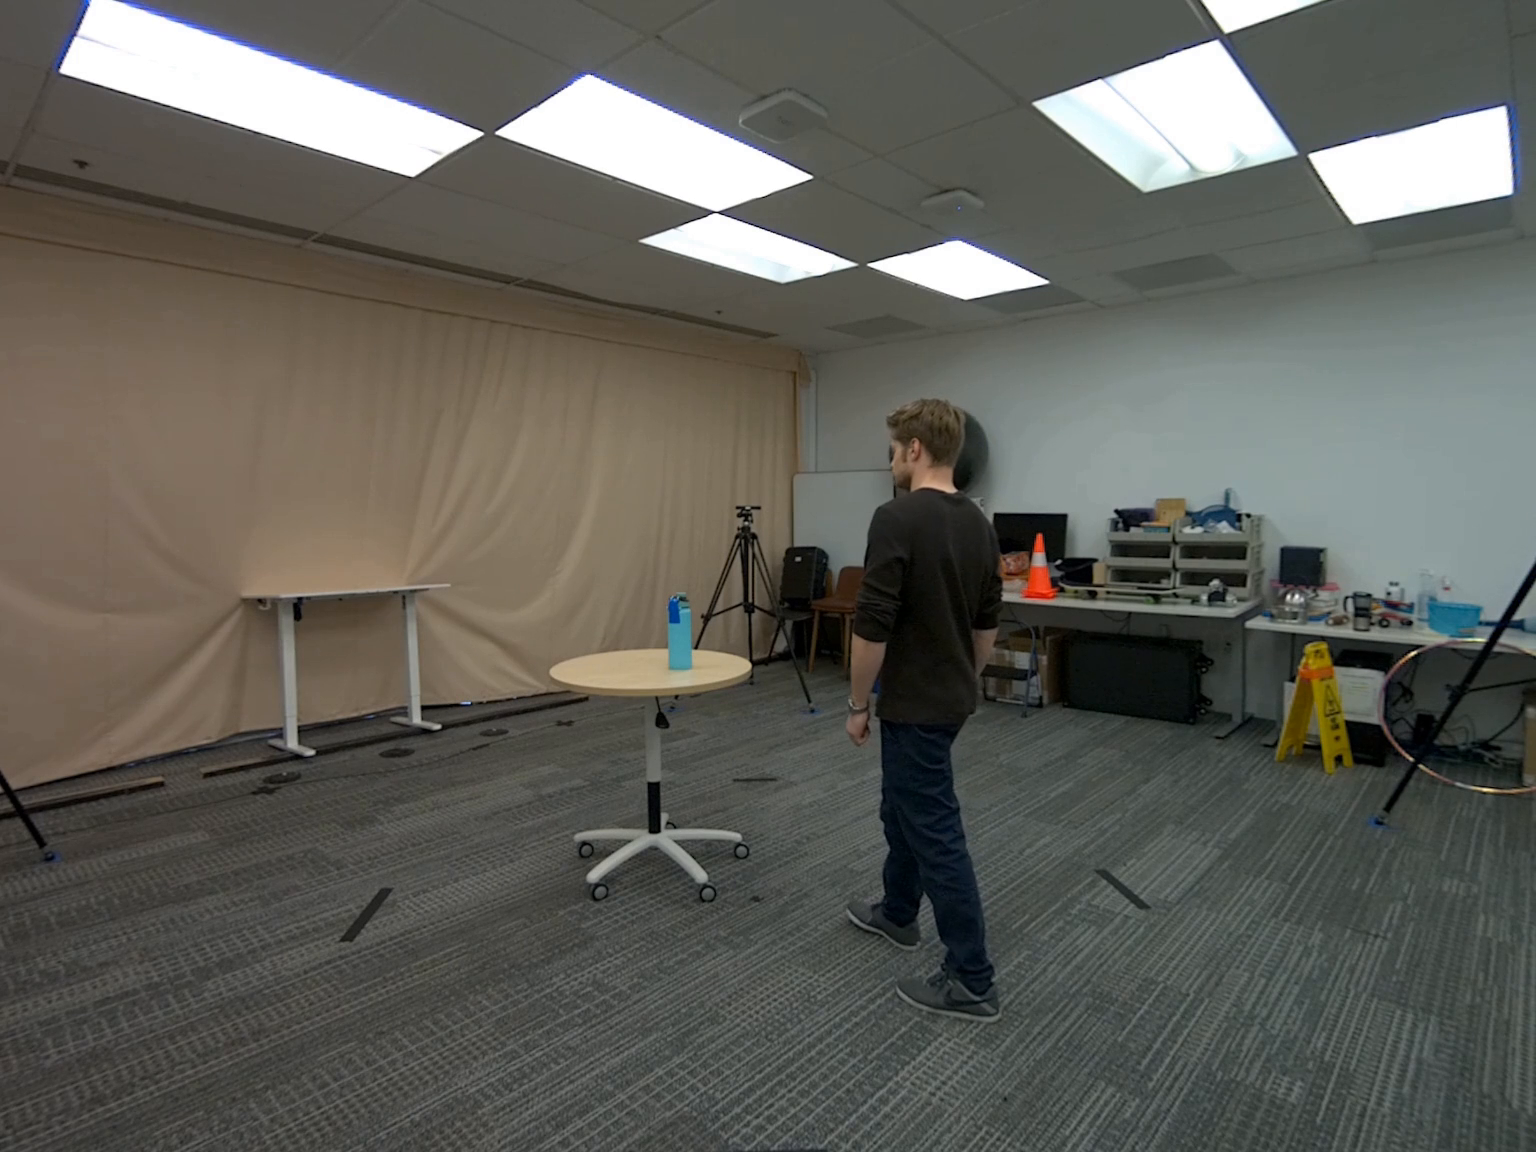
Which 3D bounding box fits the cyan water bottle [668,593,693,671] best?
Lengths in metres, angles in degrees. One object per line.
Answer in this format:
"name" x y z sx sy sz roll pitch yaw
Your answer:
"cyan water bottle" -0.338 0.209 3.169 0.092 0.283 0.092 -2 3 -2
